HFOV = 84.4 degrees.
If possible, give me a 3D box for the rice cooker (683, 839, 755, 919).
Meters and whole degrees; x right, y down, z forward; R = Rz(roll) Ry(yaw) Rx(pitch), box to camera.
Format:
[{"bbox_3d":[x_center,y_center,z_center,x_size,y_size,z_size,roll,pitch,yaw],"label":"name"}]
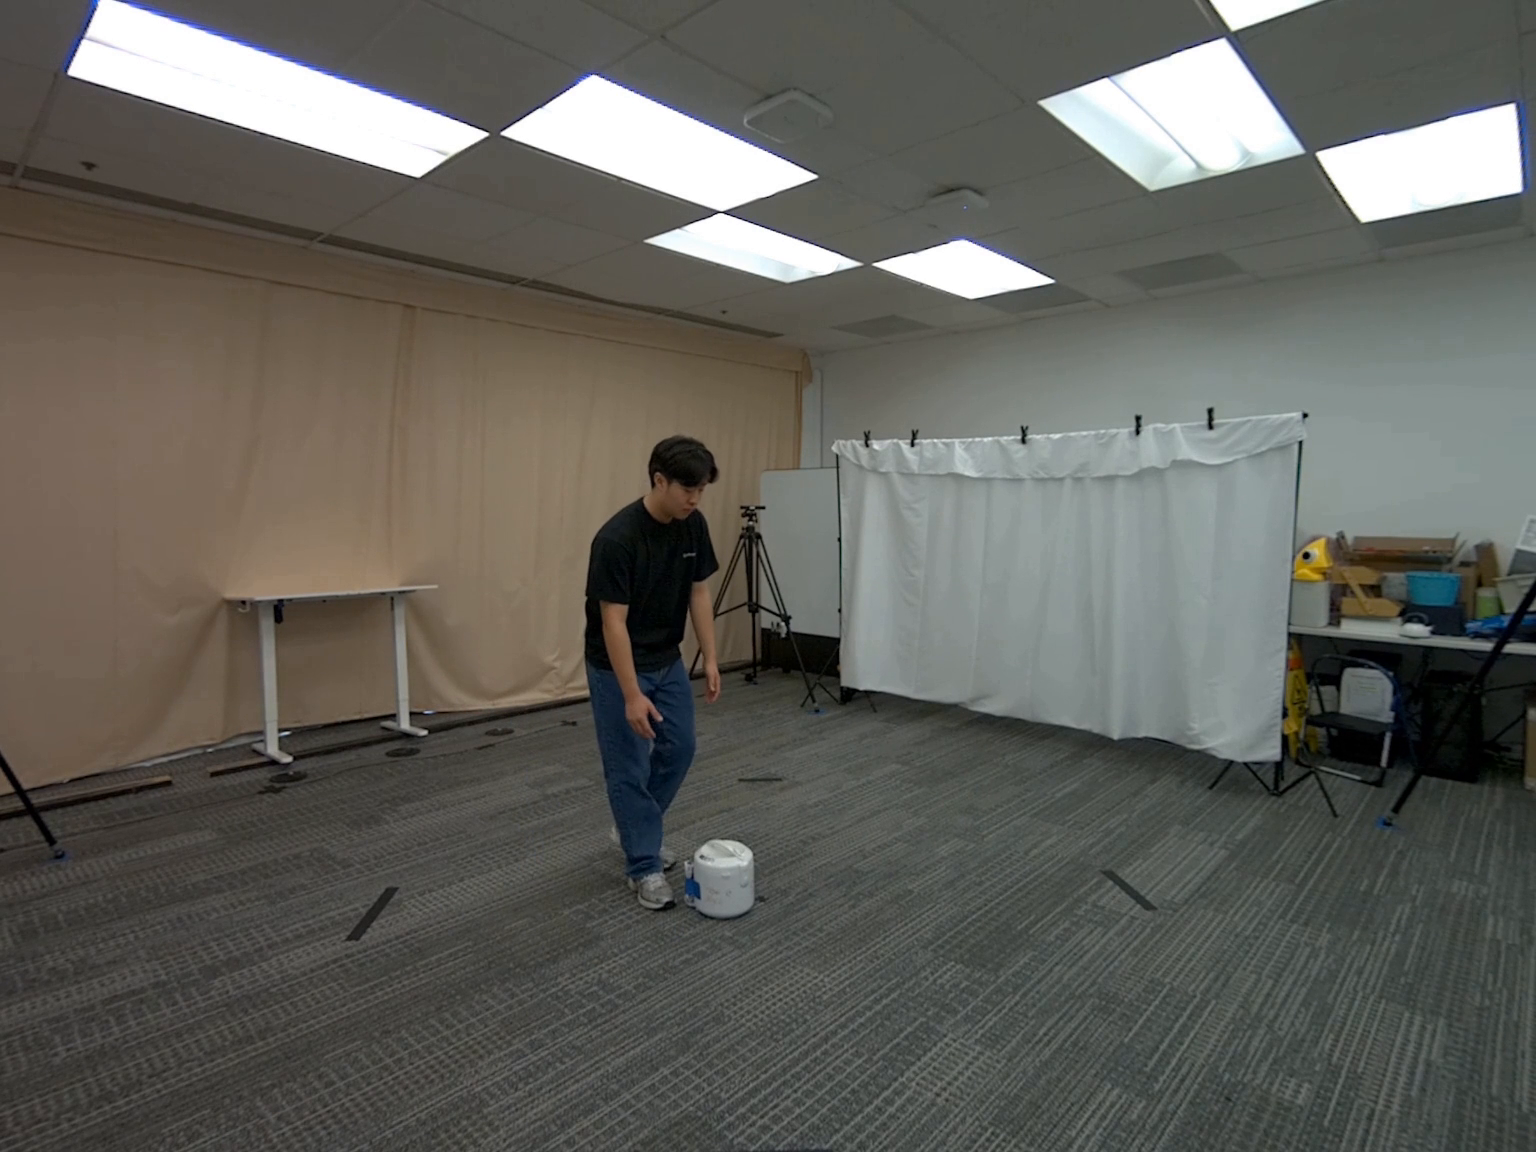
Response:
[{"bbox_3d":[-0.148,1.035,2.913,0.211,0.232,0.228,-5,6,-45],"label":"rice cooker"}]
